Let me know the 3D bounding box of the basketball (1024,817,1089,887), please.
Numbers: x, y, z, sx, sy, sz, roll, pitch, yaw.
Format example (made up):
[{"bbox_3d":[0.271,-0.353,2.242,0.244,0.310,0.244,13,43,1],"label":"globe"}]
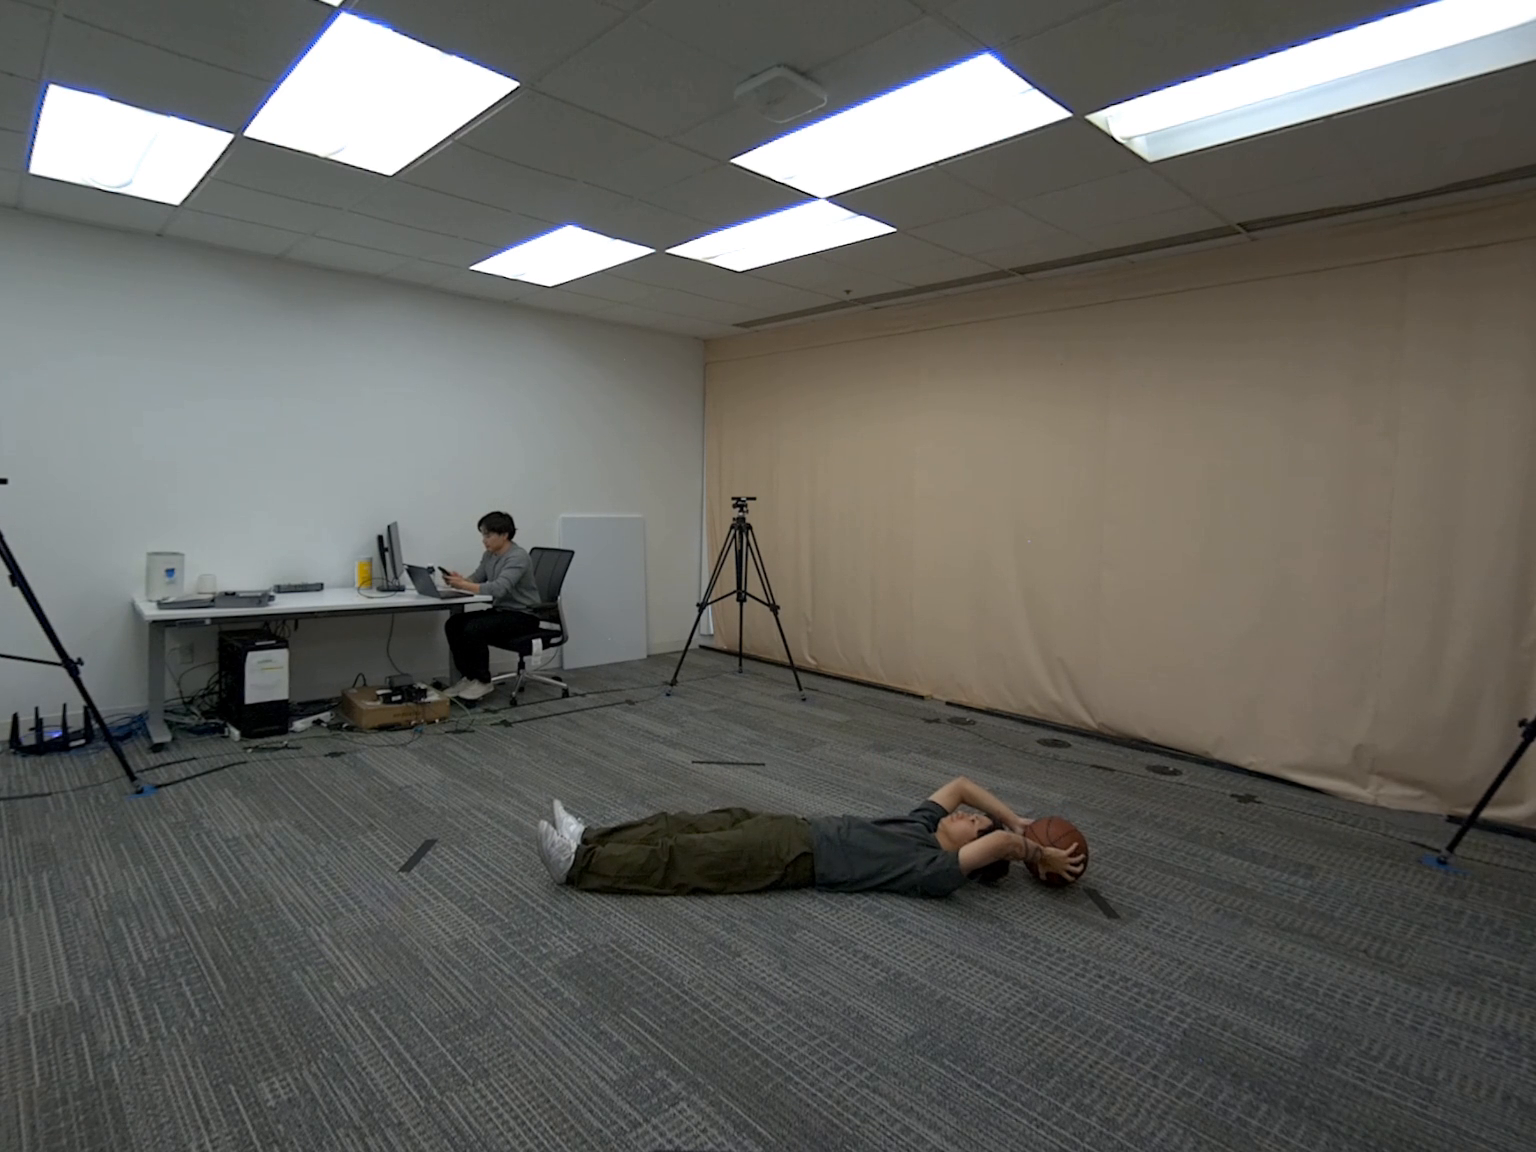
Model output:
[{"bbox_3d":[1.060,1.011,3.113,0.236,0.235,0.237,1,4,-1],"label":"basketball"}]
